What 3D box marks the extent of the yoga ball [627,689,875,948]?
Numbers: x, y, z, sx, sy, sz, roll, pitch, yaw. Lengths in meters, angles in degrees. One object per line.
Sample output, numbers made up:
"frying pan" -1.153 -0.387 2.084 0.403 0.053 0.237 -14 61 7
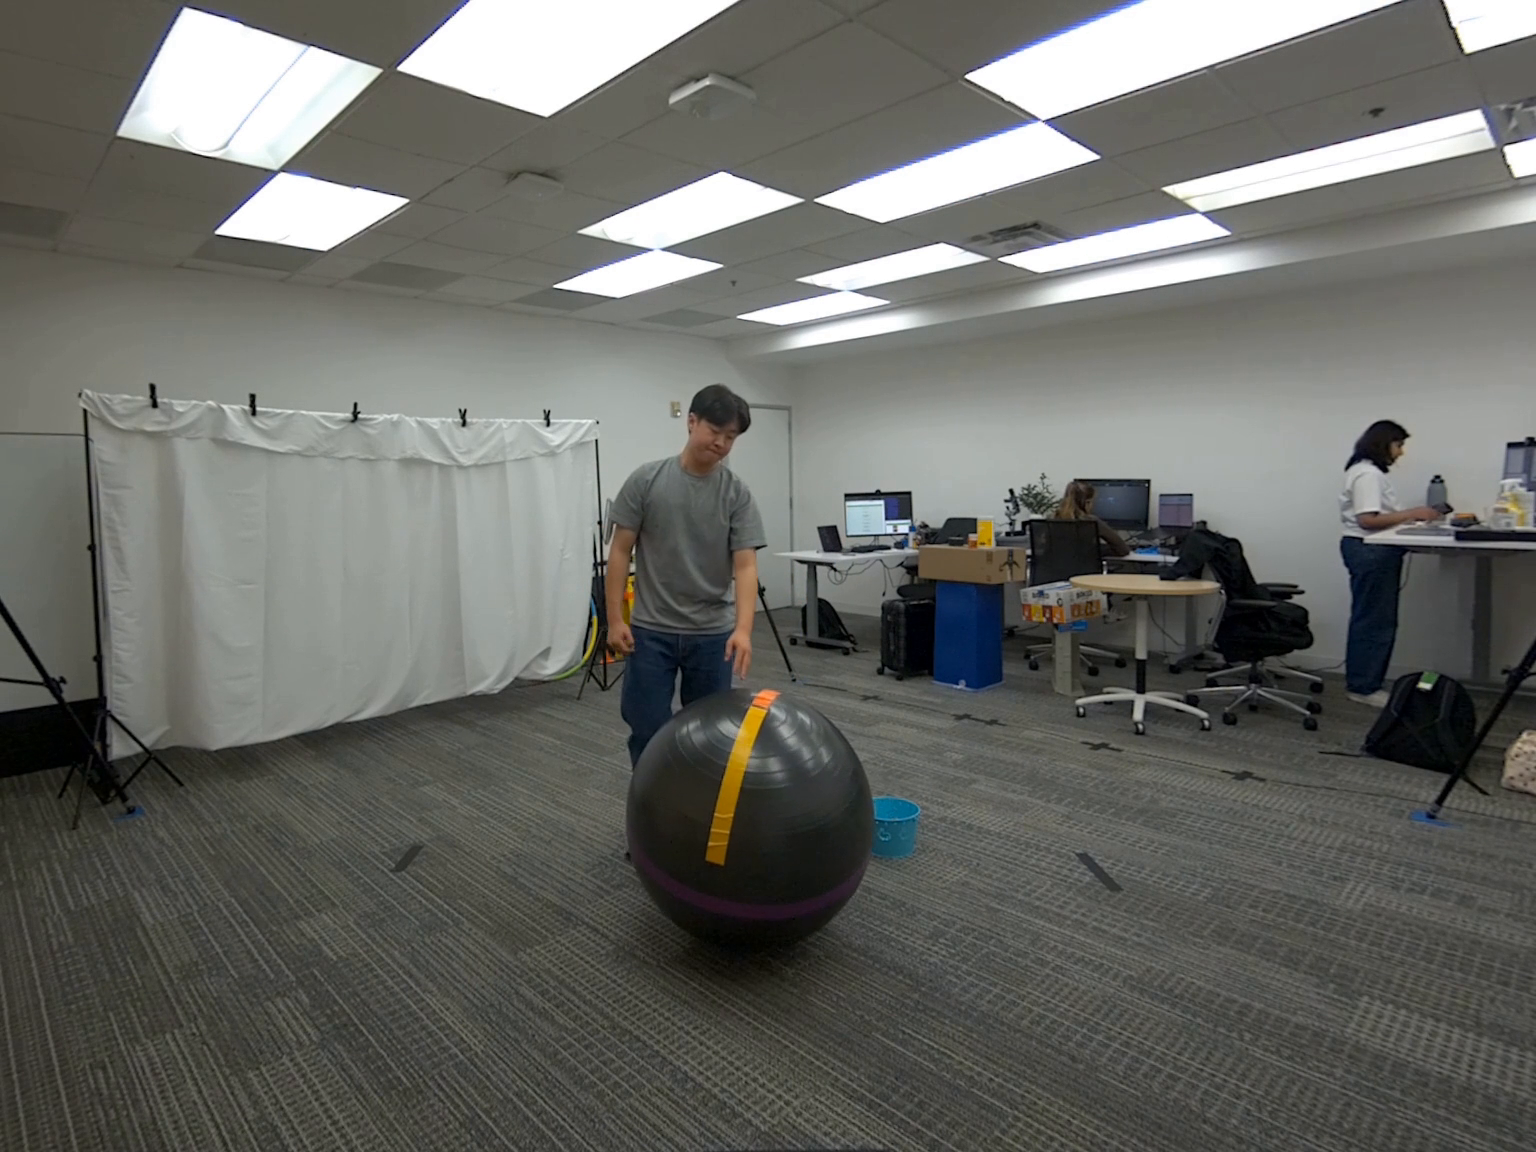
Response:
"yoga ball" -0.050 0.729 2.608 0.757 0.755 0.762 -1 5 -2
